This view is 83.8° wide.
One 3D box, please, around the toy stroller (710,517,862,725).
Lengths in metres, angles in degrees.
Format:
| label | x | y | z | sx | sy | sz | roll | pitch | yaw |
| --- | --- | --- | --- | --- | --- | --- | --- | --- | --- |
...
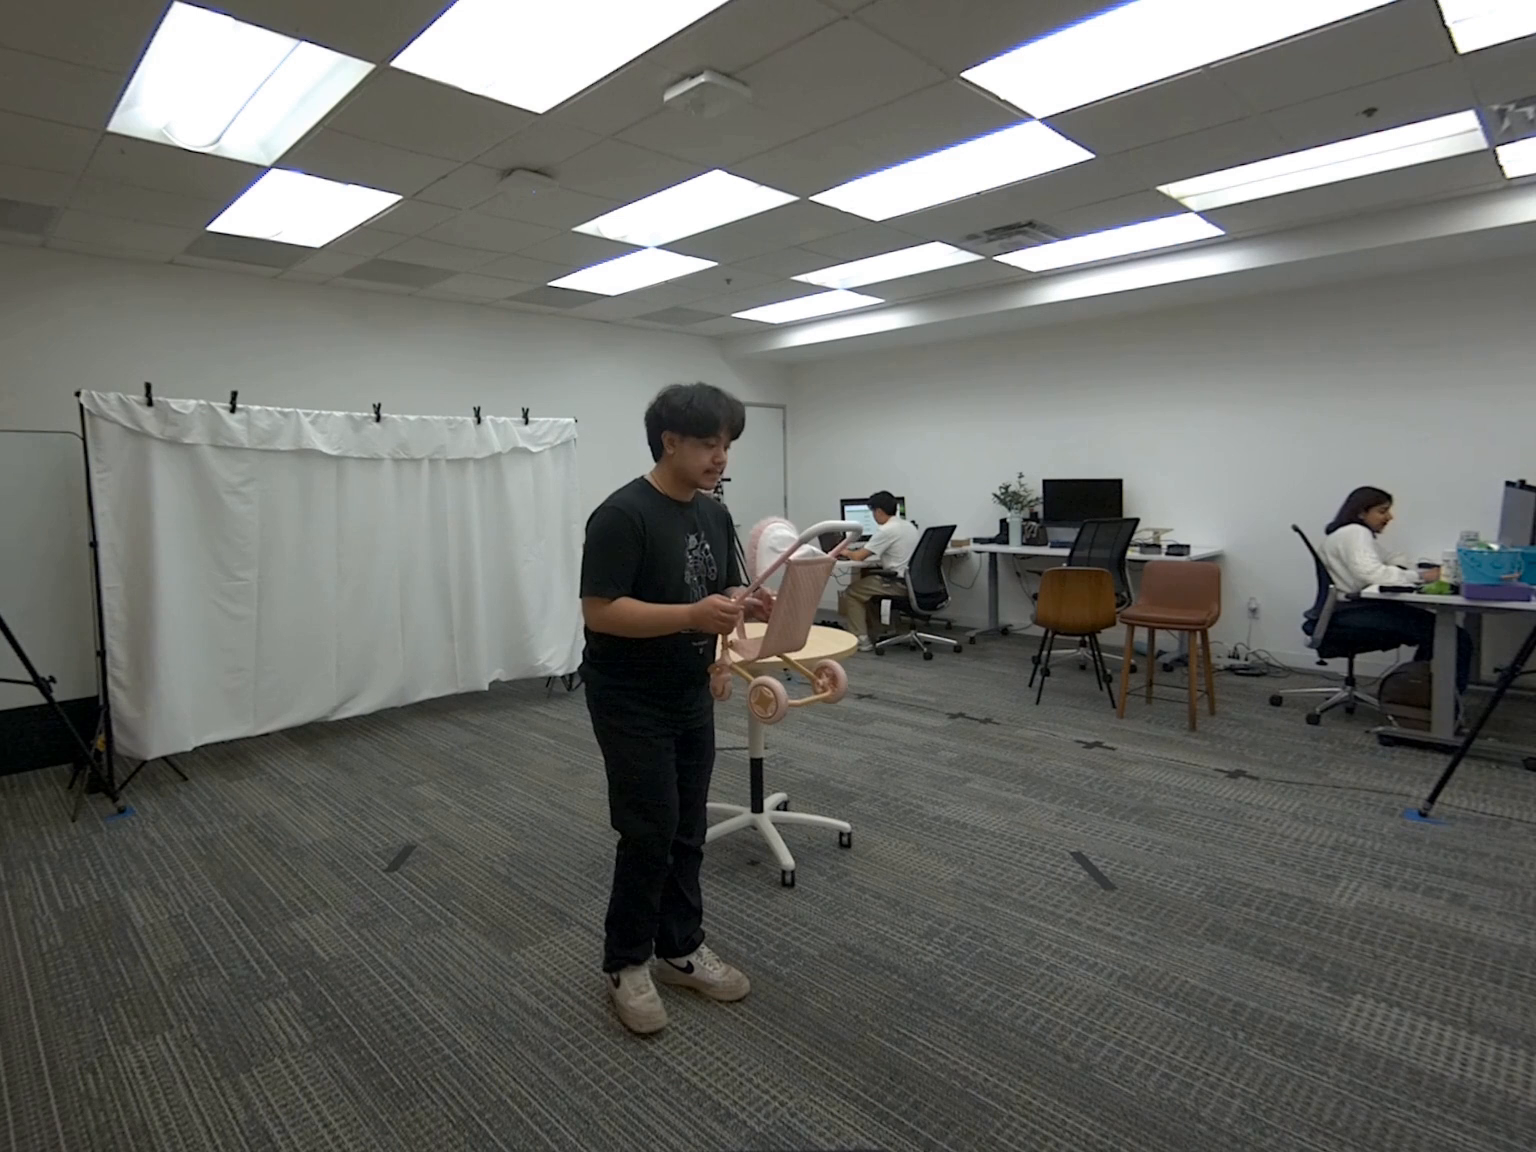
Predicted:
| label | x | y | z | sx | sy | sz | roll | pitch | yaw |
| --- | --- | --- | --- | --- | --- | --- | --- | --- | --- |
| toy stroller | 0.014 | 0.100 | 2.094 | 0.274 | 0.530 | 0.354 | -3 | 15 | -44 |
